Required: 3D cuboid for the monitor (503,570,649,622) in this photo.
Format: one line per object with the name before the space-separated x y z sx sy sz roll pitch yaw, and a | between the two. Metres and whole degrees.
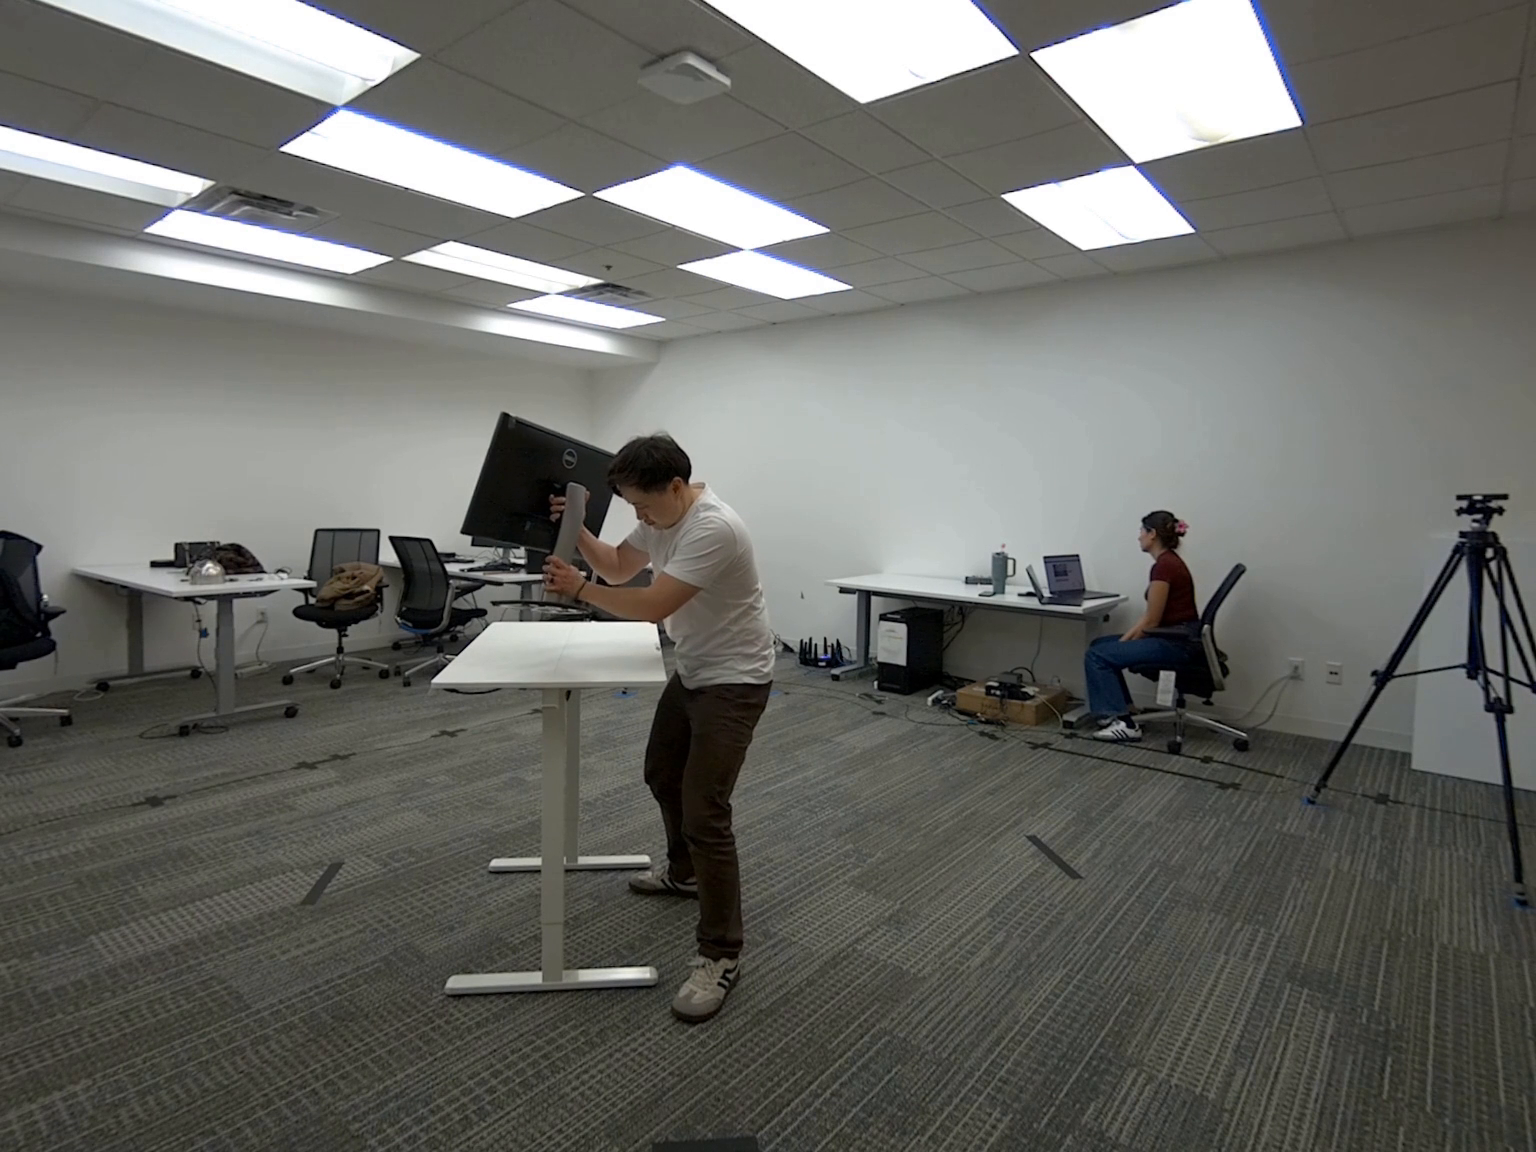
monitor | -0.641 -0.156 2.494 0.192 0.525 0.521 4 -6 27
